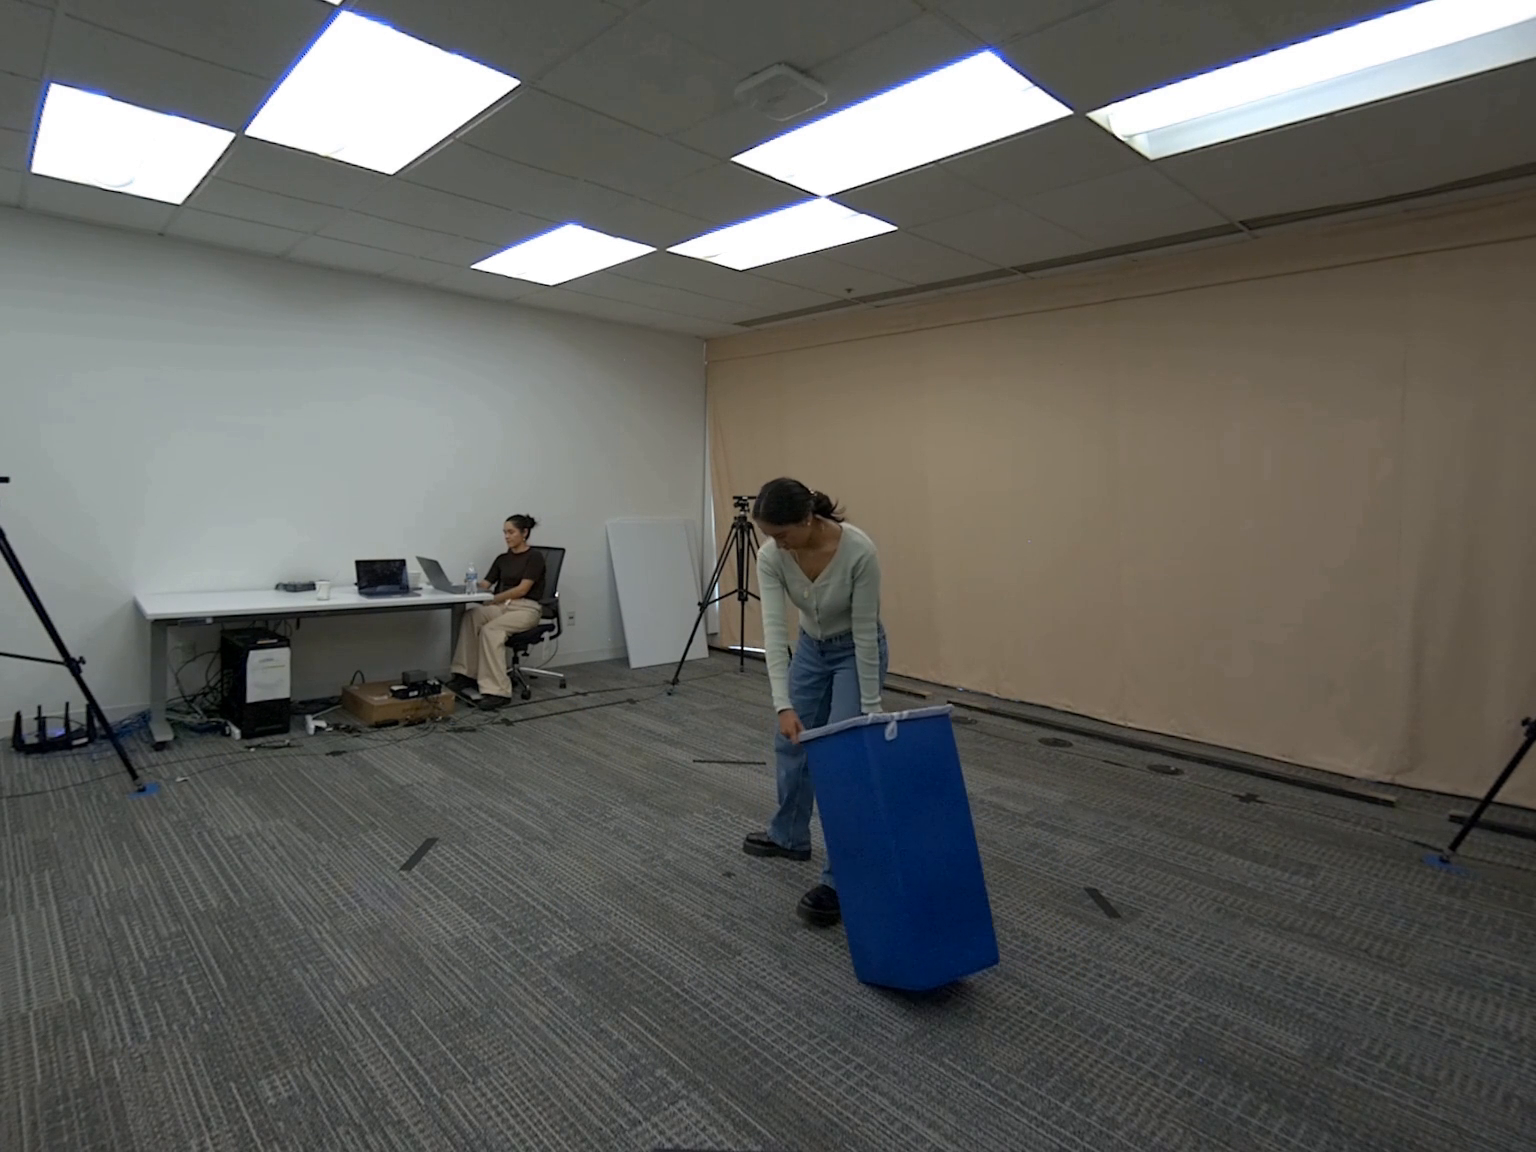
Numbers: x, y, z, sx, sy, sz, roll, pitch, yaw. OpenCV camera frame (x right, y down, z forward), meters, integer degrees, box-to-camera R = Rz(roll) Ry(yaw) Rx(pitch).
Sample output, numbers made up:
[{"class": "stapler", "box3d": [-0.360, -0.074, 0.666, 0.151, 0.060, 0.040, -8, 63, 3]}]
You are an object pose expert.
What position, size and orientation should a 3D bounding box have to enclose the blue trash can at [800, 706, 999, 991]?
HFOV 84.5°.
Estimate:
[{"class": "blue trash can", "box3d": [0.371, 0.788, 2.503, 0.370, 0.723, 0.377, 0, -19, -31]}]
